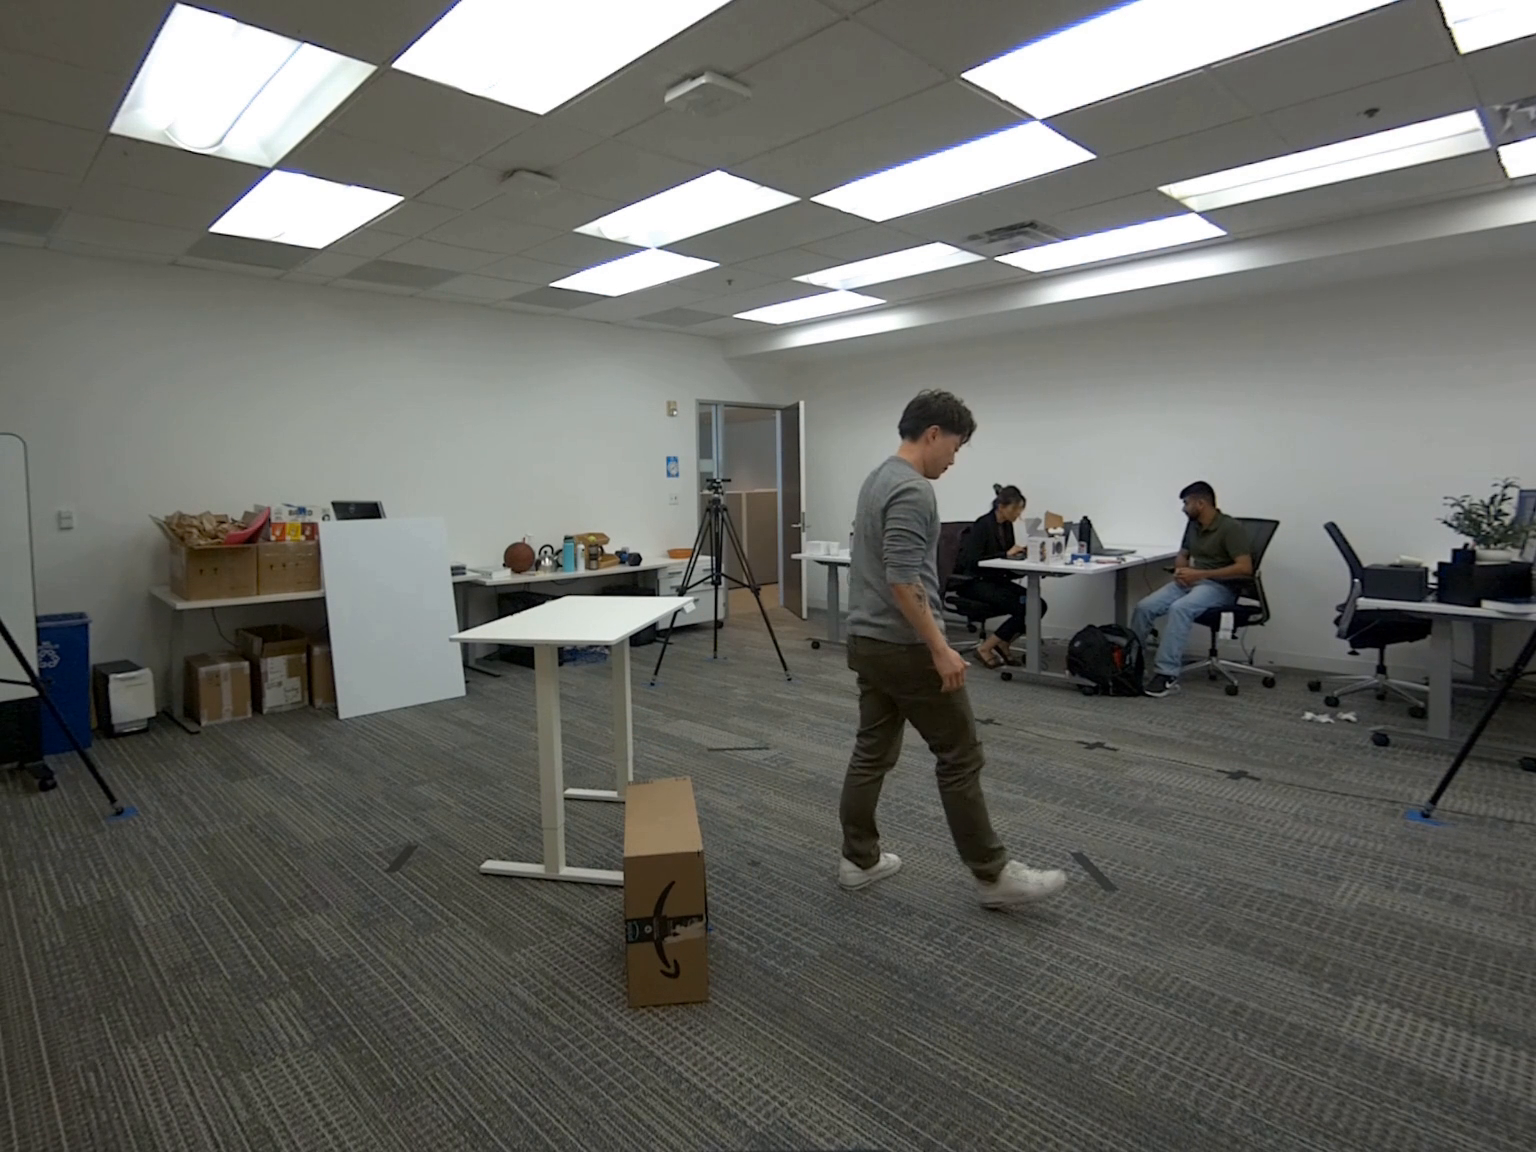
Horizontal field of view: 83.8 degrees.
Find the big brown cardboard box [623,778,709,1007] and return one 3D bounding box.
[{"bbox_3d":[-0.307,0.905,2.550,0.232,0.415,0.595,-3,6,-7],"label":"big brown cardboard box"}]
